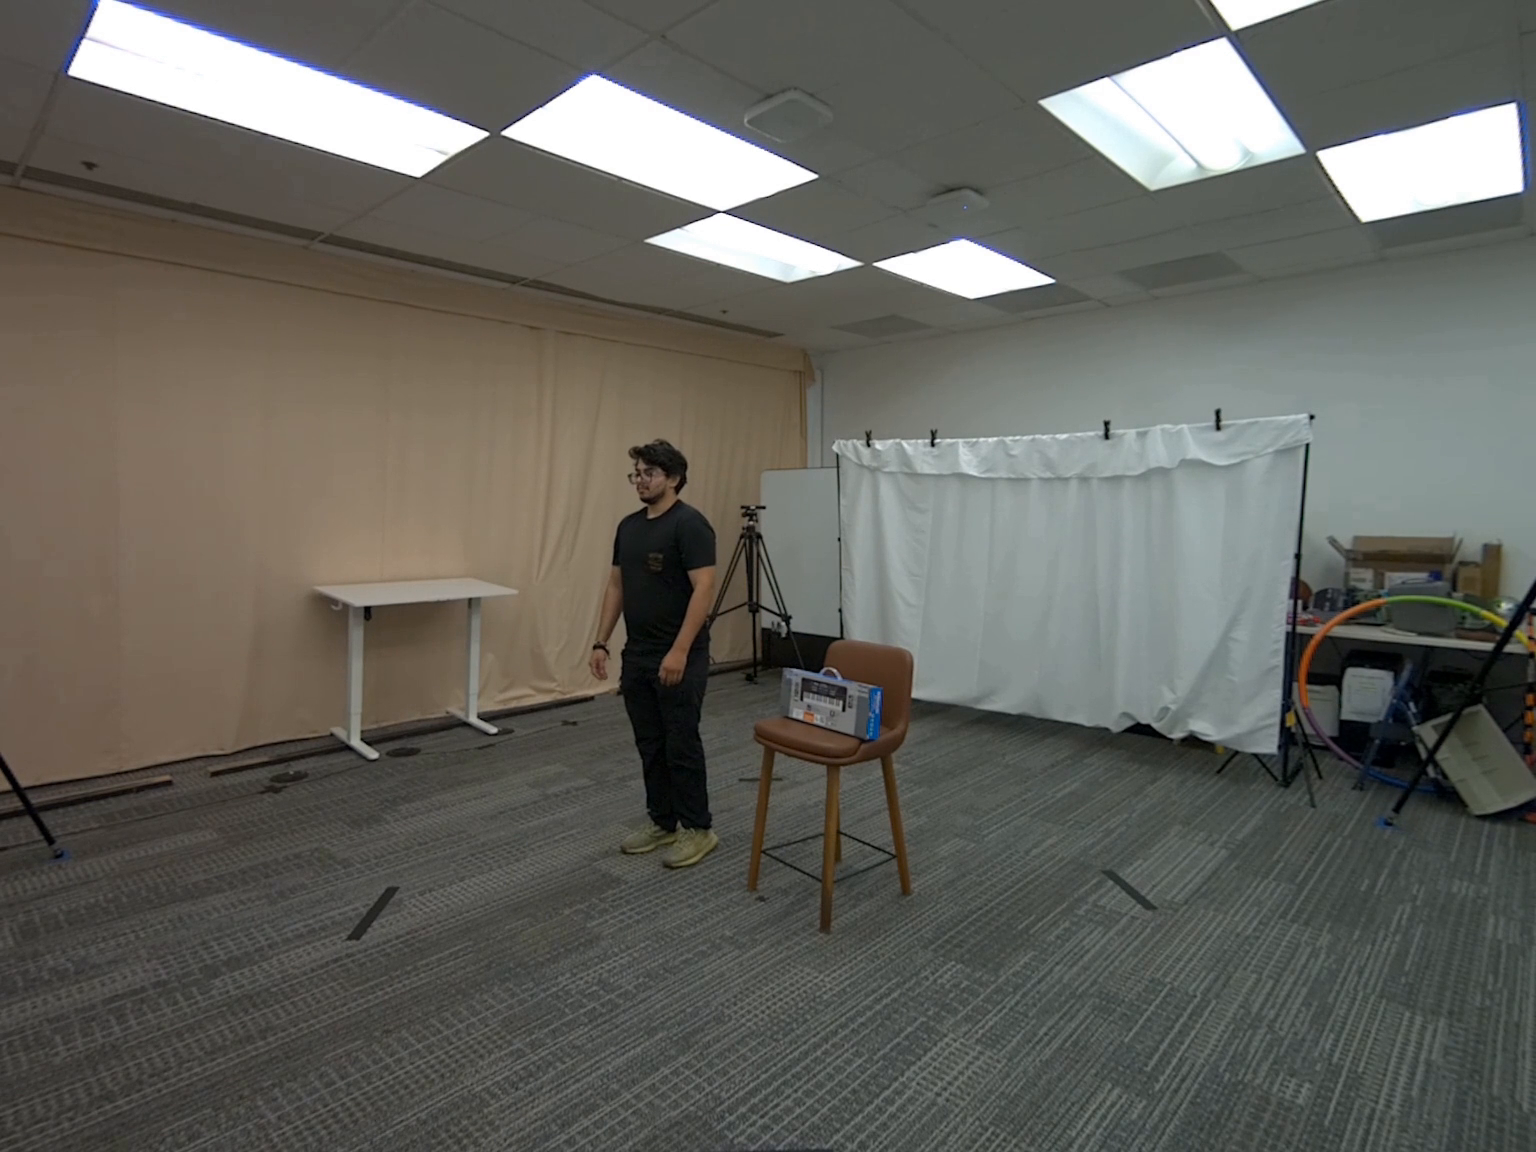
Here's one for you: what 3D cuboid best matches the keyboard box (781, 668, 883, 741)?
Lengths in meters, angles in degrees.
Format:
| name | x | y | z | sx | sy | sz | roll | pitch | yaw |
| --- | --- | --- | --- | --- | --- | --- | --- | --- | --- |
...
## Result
| name | x | y | z | sx | sy | sz | roll | pitch | yaw |
| --- | --- | --- | --- | --- | --- | --- | --- | --- | --- |
| keyboard box | 0.215 | 0.444 | 2.964 | 0.057 | 0.176 | 0.451 | 6 | -1 | -39 |
